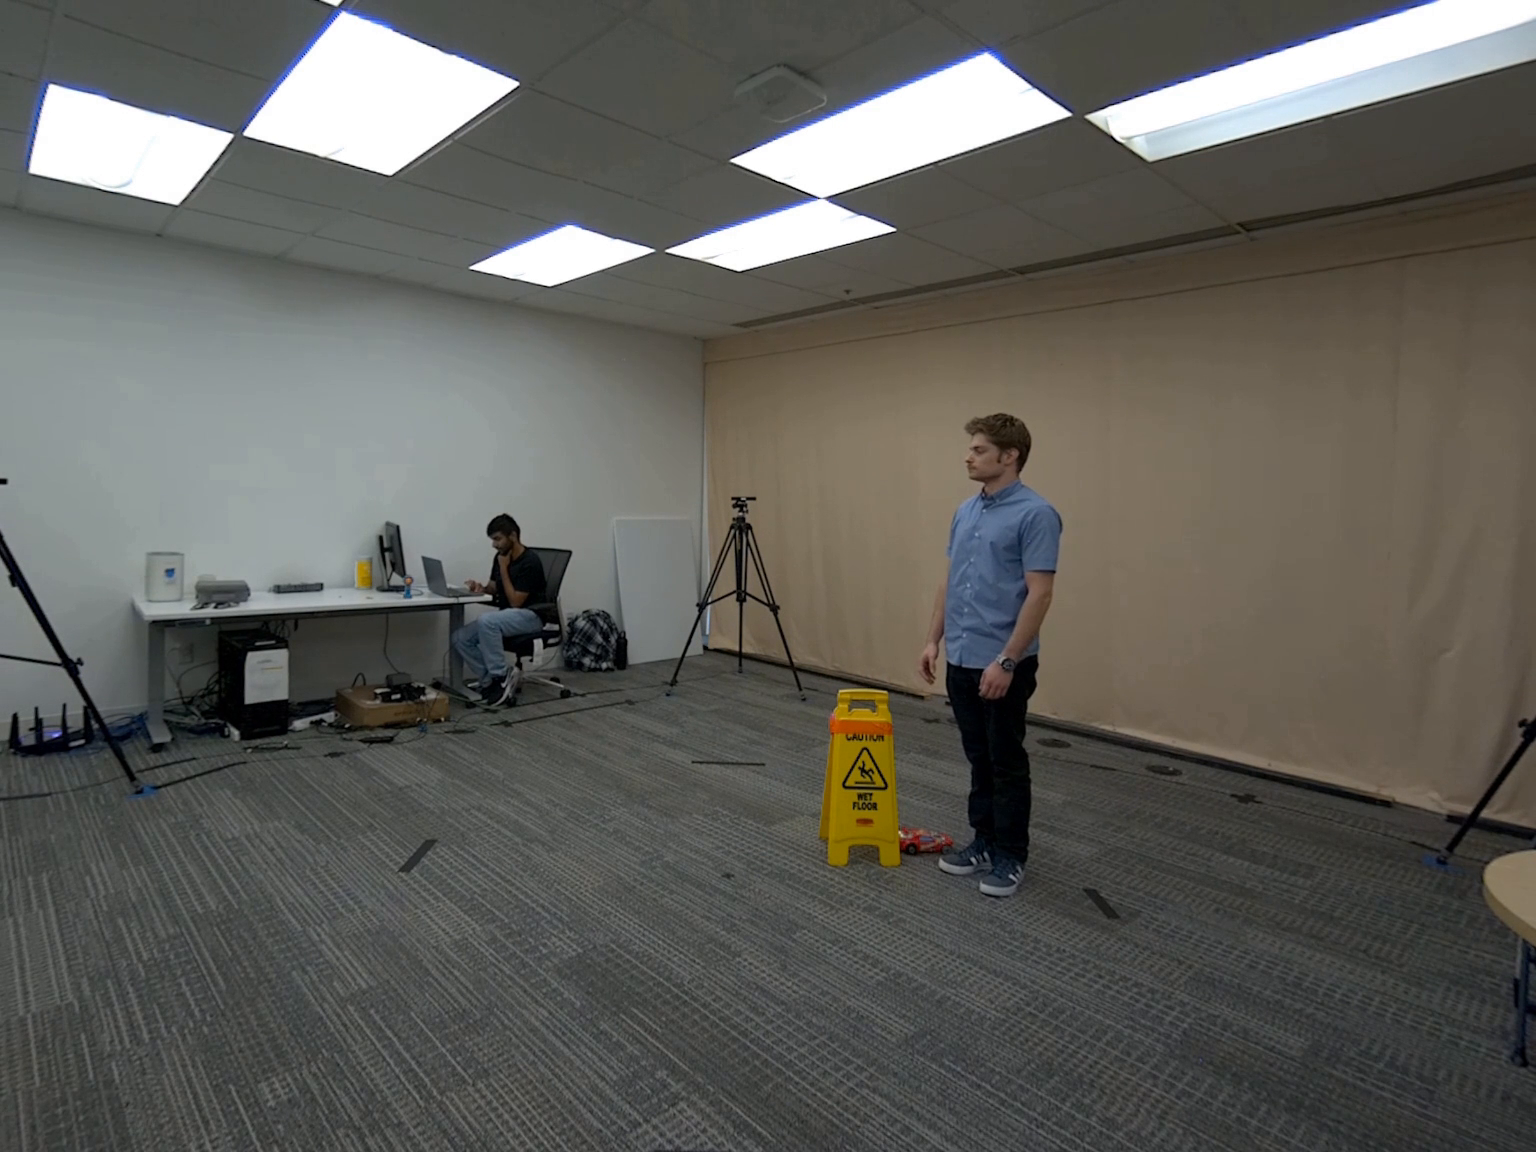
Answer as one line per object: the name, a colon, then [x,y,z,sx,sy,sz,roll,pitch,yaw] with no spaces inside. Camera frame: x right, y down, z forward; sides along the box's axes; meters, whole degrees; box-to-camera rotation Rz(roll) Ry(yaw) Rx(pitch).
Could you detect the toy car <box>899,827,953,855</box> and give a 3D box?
toy car: [0.600,1.068,3.385,0.253,0.083,0.131,12,4,-6]
